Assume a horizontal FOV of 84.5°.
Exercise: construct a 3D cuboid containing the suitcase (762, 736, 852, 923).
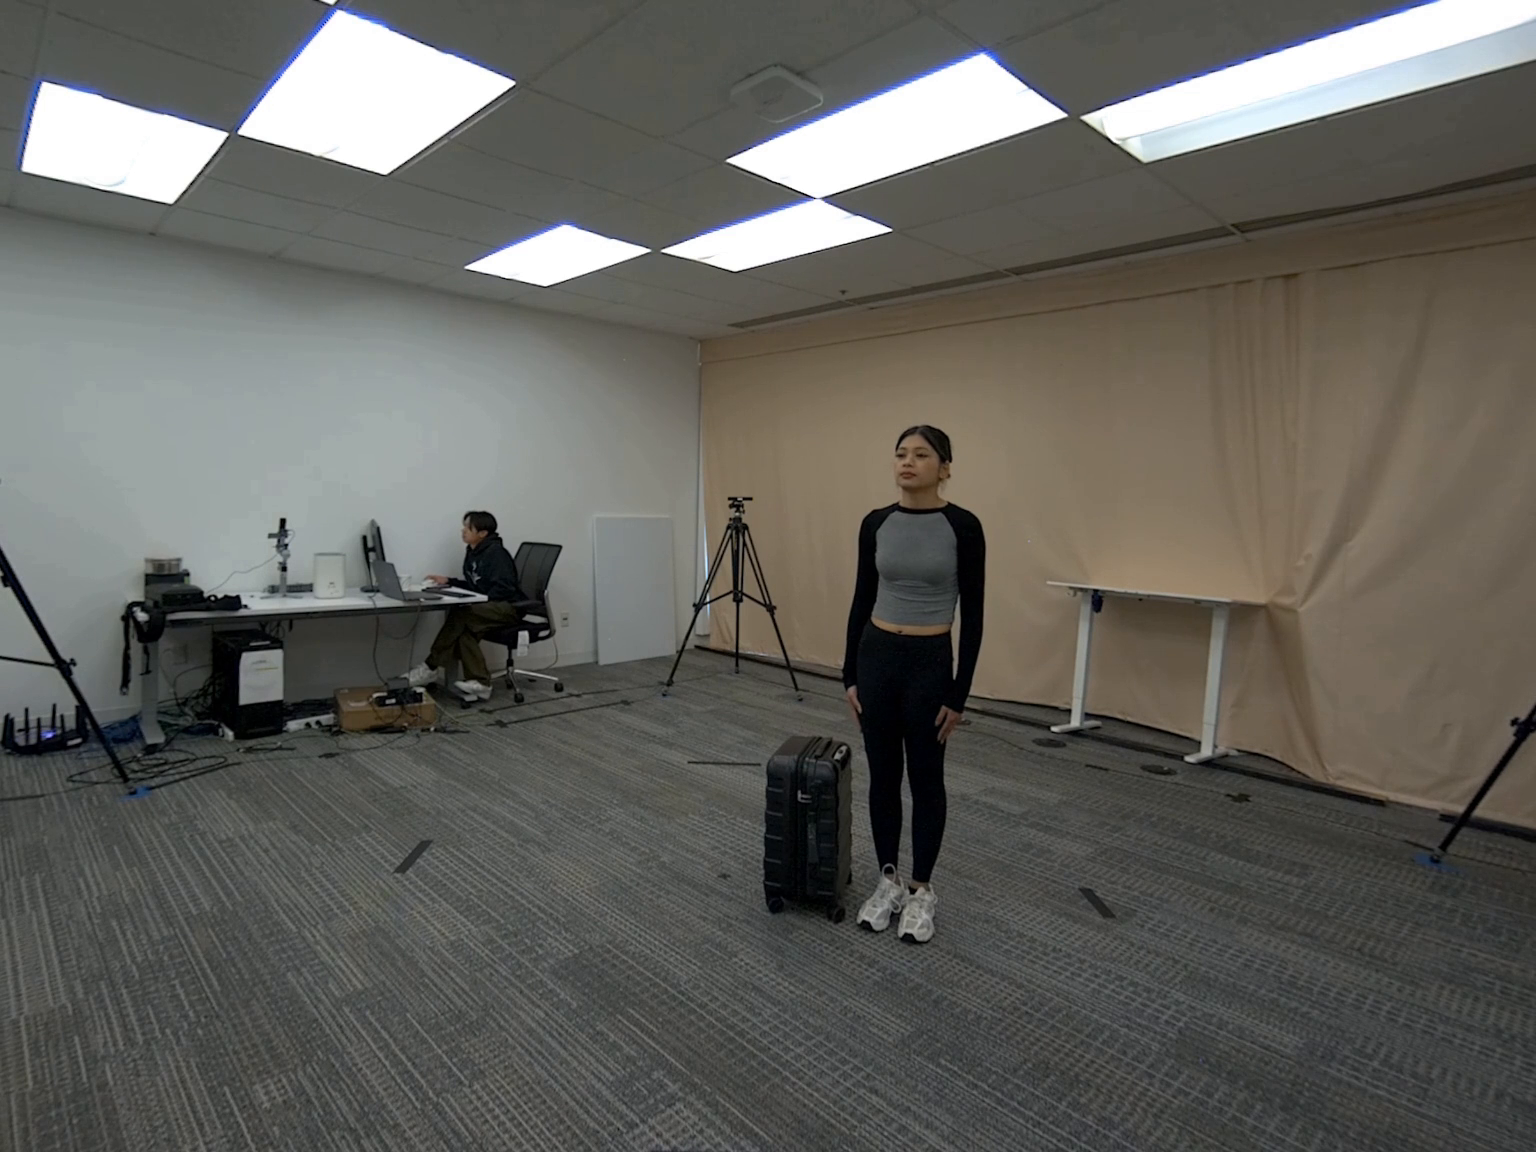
[{"bbox_3d":[0.144,0.851,2.938,0.251,0.547,0.372,1,5,15],"label":"suitcase"}]
